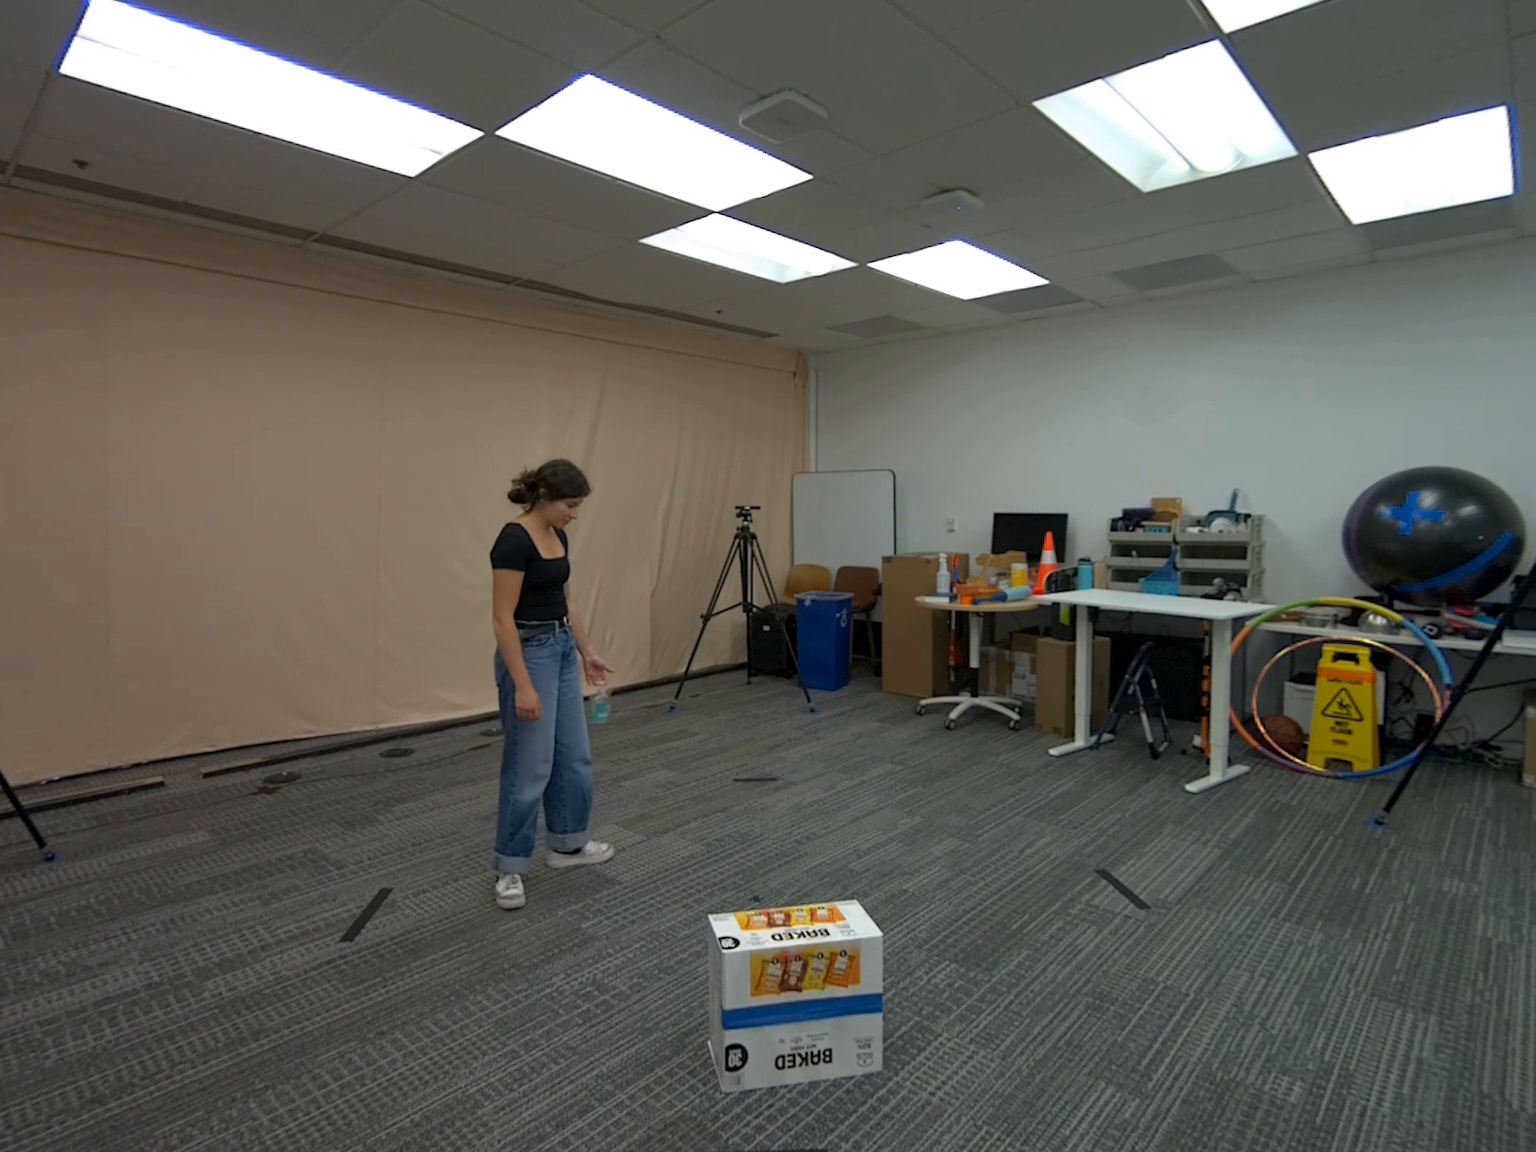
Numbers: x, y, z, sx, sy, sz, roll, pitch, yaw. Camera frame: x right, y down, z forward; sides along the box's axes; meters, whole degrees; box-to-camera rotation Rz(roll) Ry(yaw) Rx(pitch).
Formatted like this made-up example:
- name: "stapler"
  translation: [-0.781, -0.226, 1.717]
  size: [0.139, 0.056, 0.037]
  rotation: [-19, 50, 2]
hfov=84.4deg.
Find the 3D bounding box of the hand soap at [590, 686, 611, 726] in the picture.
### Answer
- name: "hand soap"
  translation: [-0.671, 0.506, 3.341]
  size: [0.082, 0.168, 0.045]
  rotation: [0, 1, -41]
